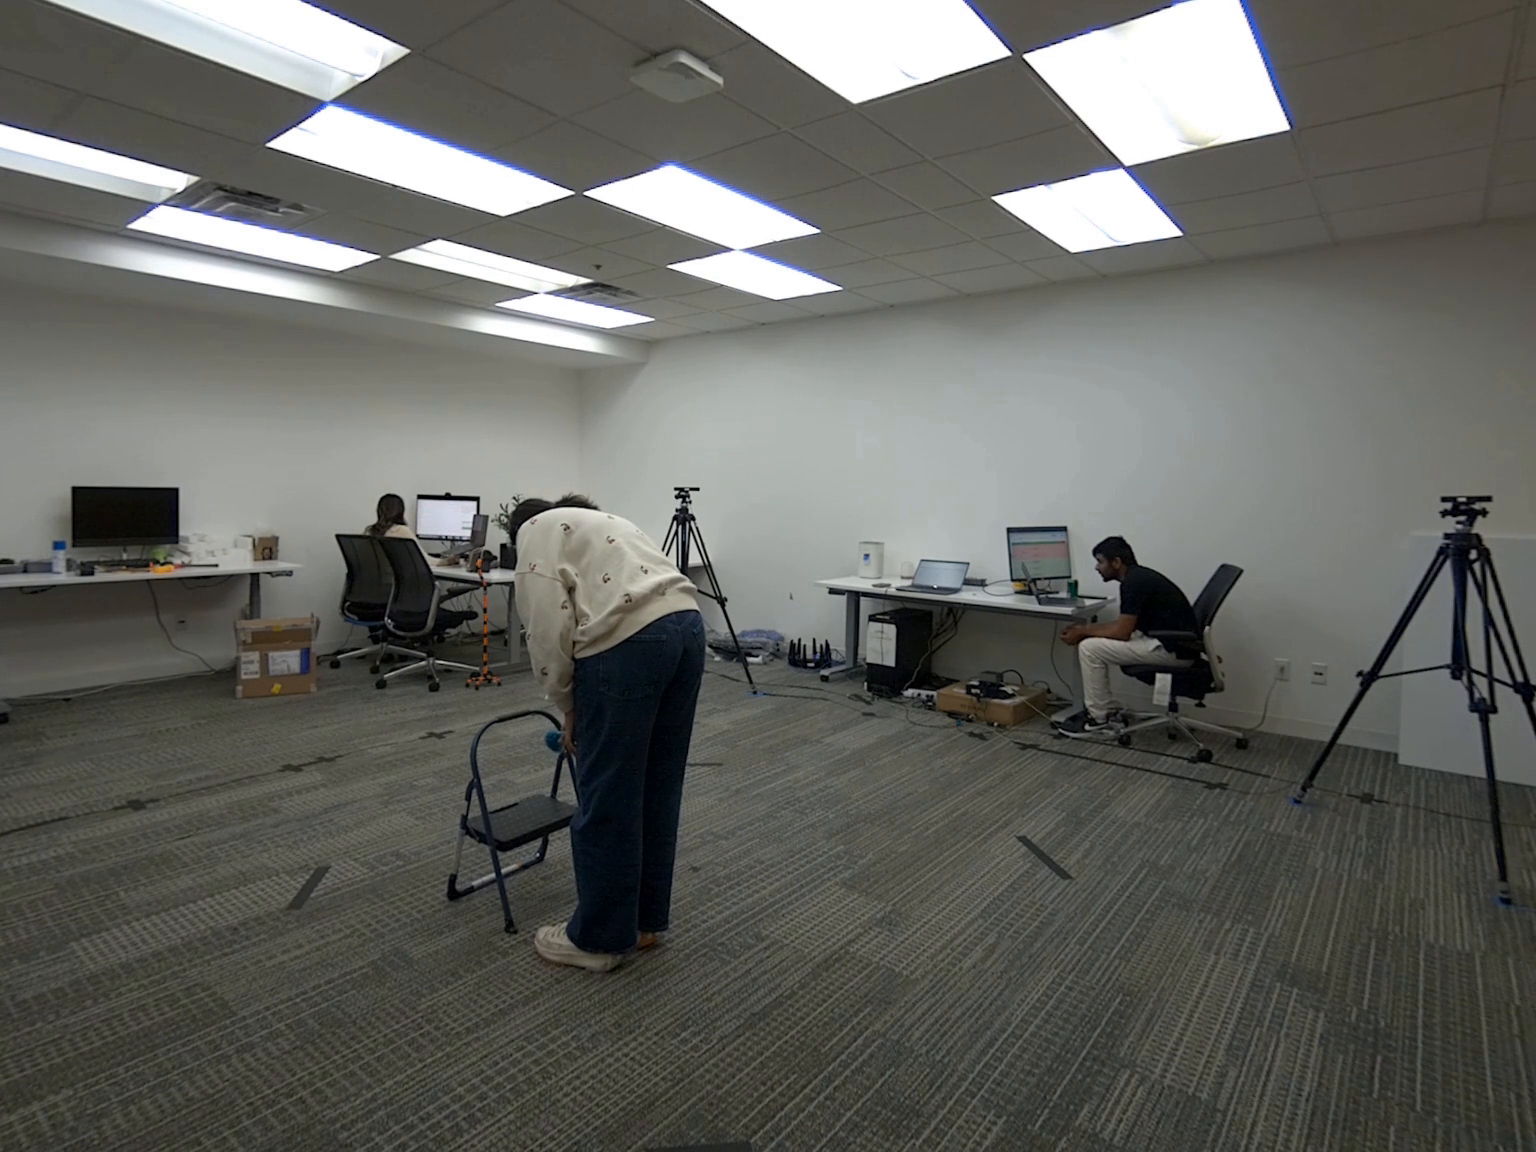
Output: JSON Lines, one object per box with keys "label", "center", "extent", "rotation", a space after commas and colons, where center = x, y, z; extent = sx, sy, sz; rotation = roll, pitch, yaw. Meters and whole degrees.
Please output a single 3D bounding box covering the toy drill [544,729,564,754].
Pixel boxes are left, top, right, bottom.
{"label": "toy drill", "center": [-0.712, 0.566, 2.950], "extent": [0.145, 0.063, 0.164], "rotation": [-14, -35, -4]}
